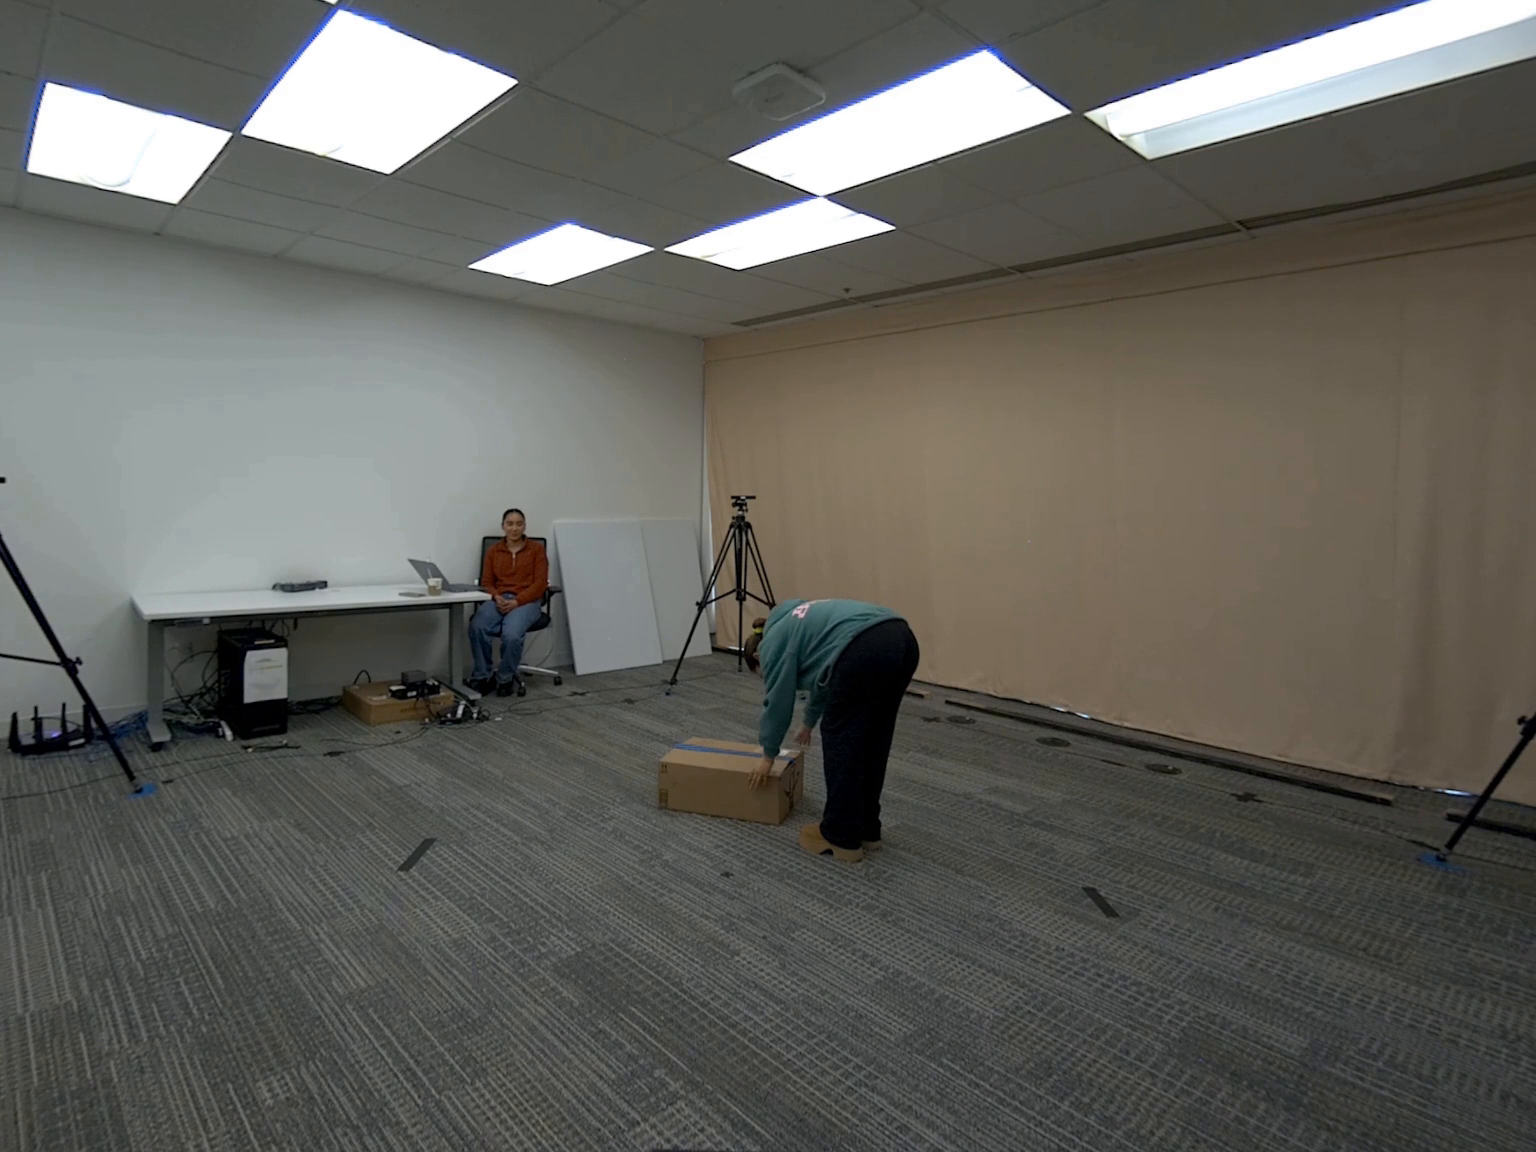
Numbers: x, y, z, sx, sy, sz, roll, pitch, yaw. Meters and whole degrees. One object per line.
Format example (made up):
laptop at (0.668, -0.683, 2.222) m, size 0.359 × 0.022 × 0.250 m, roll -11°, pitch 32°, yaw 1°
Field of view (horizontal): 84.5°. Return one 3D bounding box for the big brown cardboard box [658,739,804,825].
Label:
big brown cardboard box at (-0.166, 0.920, 3.852) m, size 0.597 × 0.232 × 0.413 m, roll 2°, pitch 5°, yaw 17°
